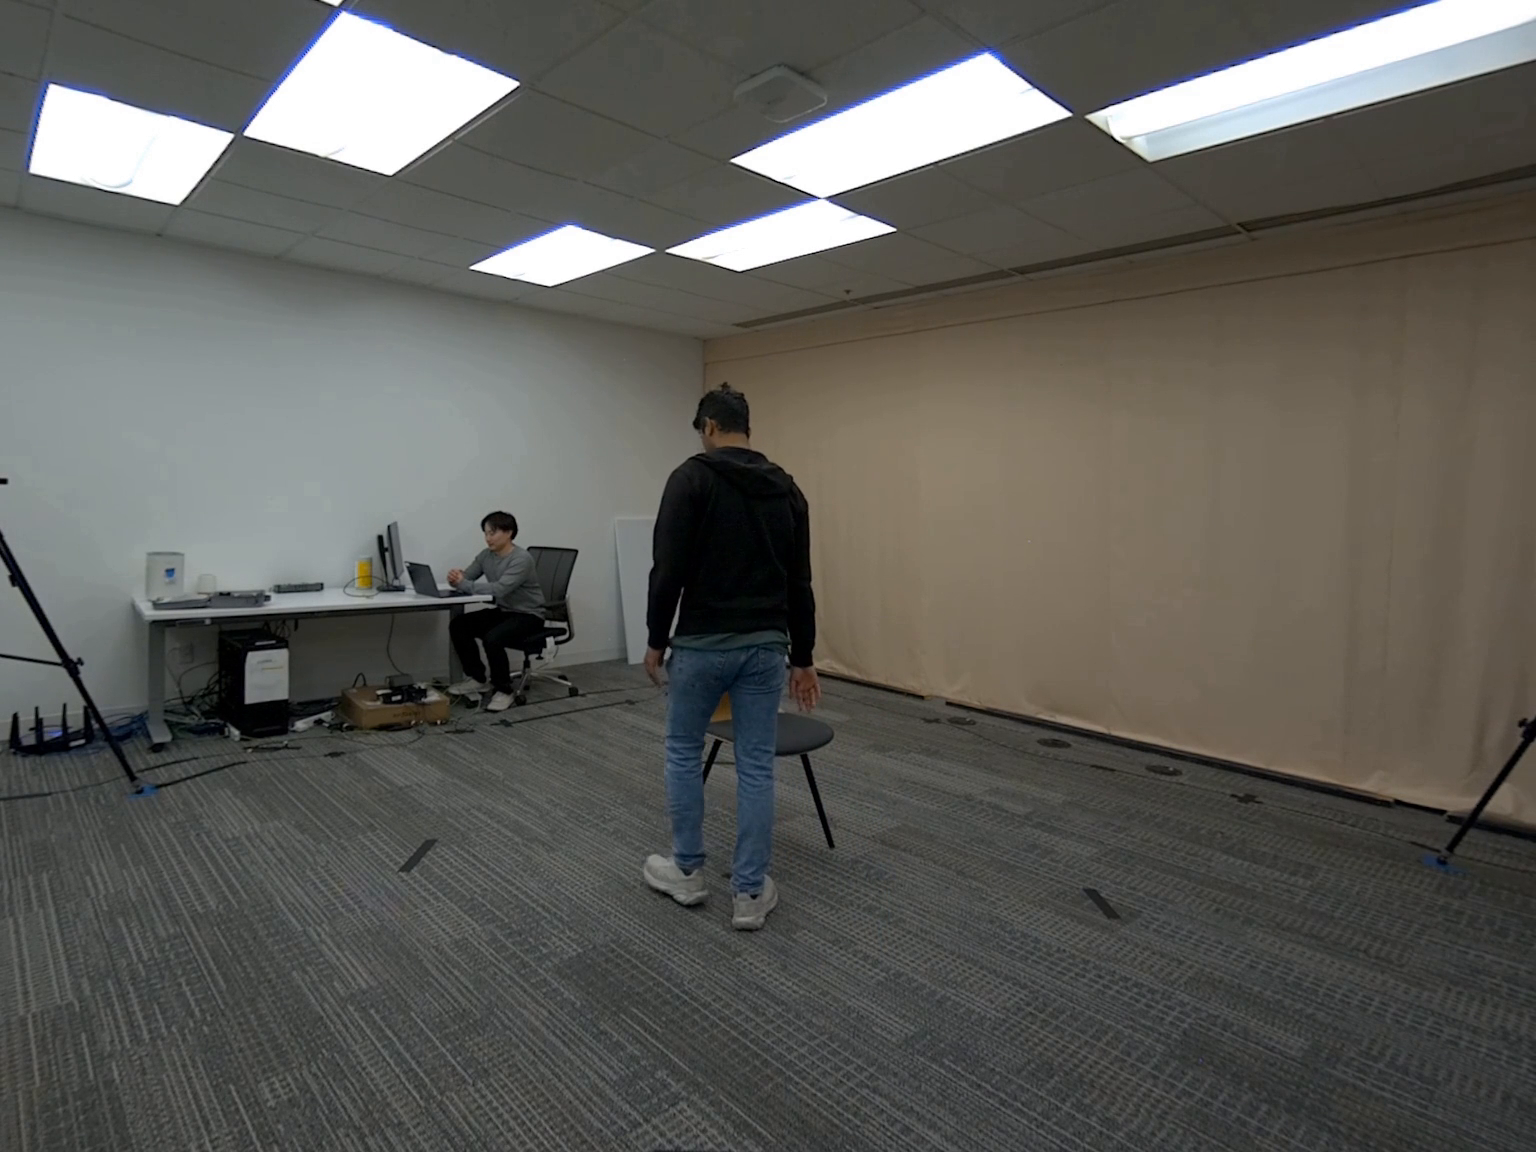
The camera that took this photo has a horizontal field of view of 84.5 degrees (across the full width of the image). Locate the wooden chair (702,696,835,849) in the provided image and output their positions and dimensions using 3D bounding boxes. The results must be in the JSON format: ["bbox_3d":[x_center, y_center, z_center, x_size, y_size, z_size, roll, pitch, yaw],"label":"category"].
[{"bbox_3d":[-0.042,0.661,3.381,0.467,0.878,0.535,-1,0,-40],"label":"wooden chair"}]
